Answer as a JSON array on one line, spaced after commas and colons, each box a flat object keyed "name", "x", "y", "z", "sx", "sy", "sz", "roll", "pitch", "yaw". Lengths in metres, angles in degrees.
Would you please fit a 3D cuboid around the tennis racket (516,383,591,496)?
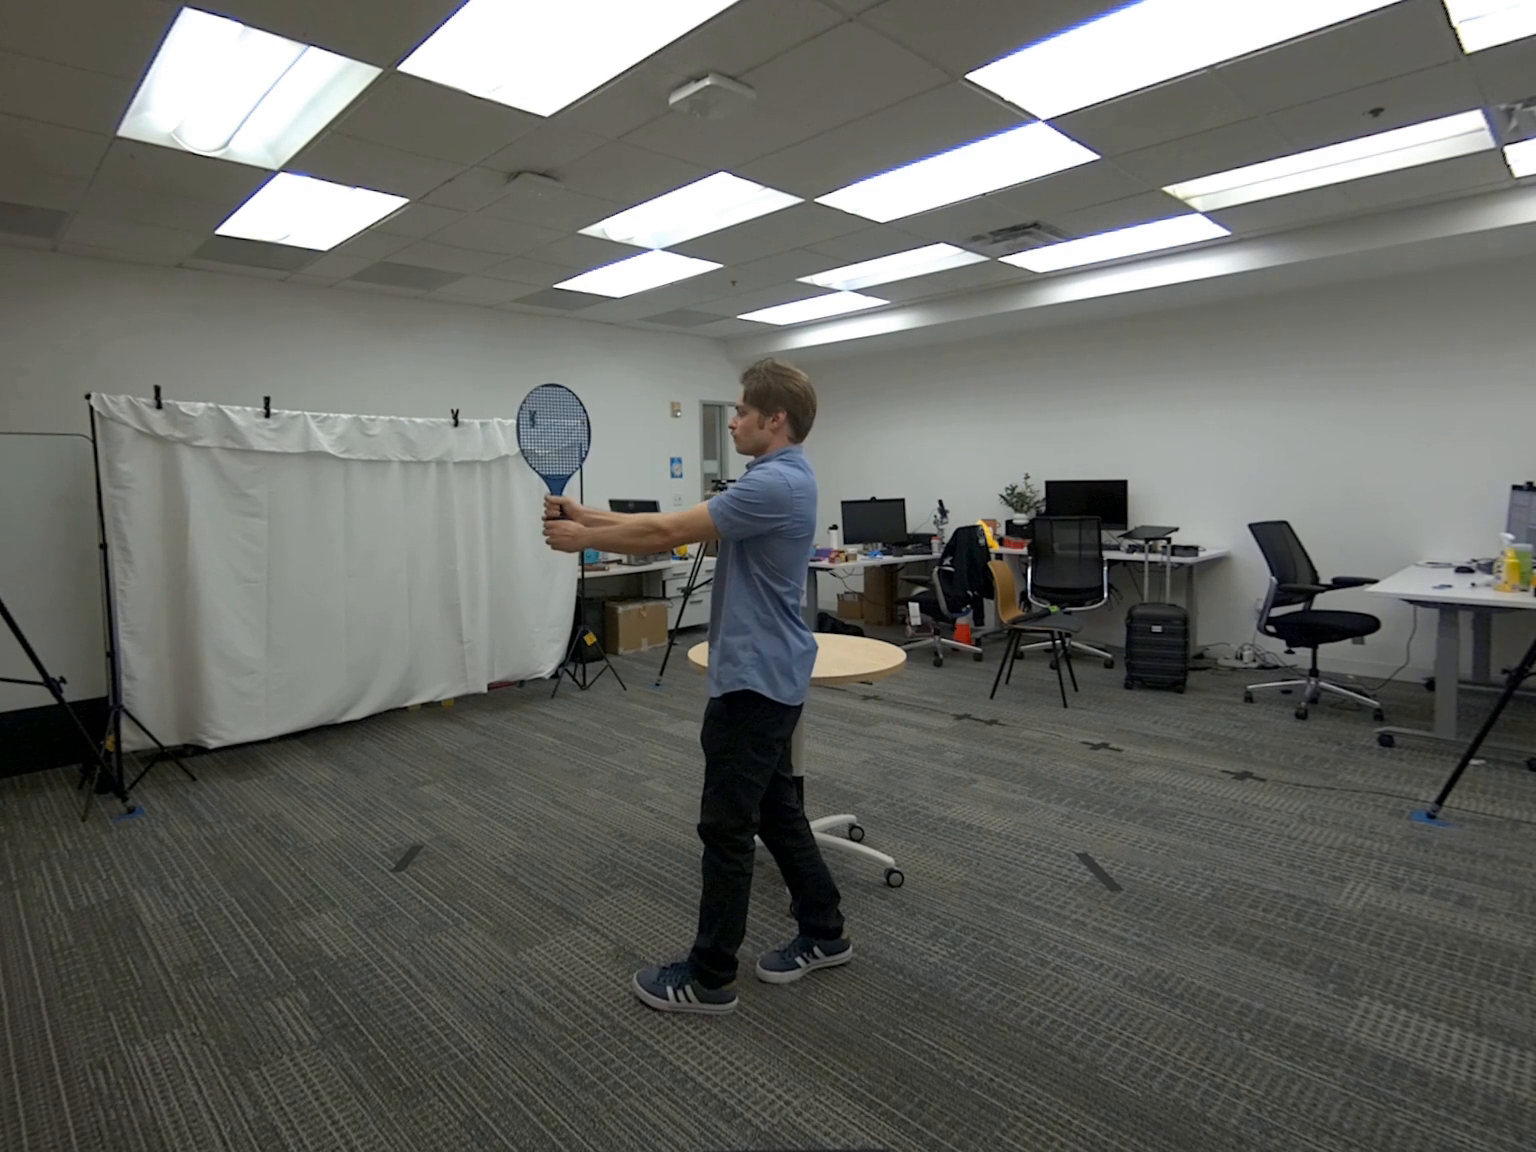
[{"name": "tennis racket", "x": -0.586, "y": -0.311, "z": 2.363, "sx": 0.209, "sy": 0.434, "sz": 0.032, "roll": -1, "pitch": -2, "yaw": -27}]
